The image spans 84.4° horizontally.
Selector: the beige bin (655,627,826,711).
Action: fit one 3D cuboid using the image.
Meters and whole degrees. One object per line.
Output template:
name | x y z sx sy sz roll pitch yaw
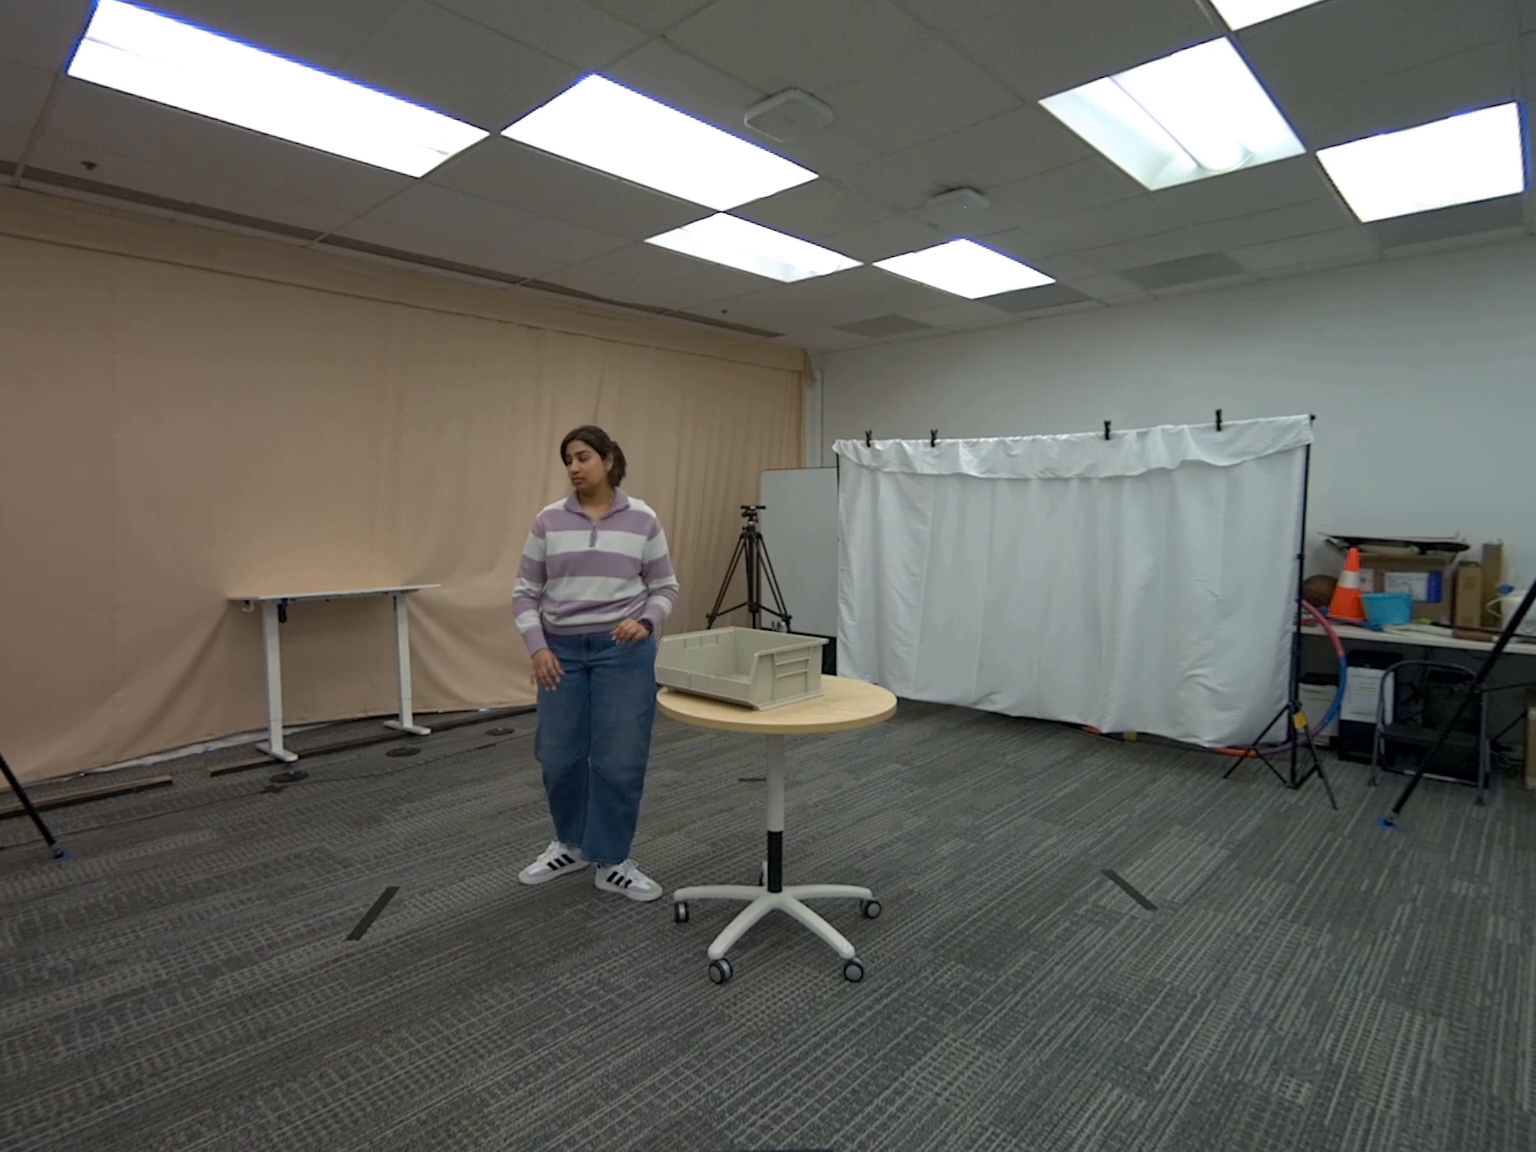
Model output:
beige bin | -0.087 0.293 2.717 0.436 0.189 0.365 4 4 42
